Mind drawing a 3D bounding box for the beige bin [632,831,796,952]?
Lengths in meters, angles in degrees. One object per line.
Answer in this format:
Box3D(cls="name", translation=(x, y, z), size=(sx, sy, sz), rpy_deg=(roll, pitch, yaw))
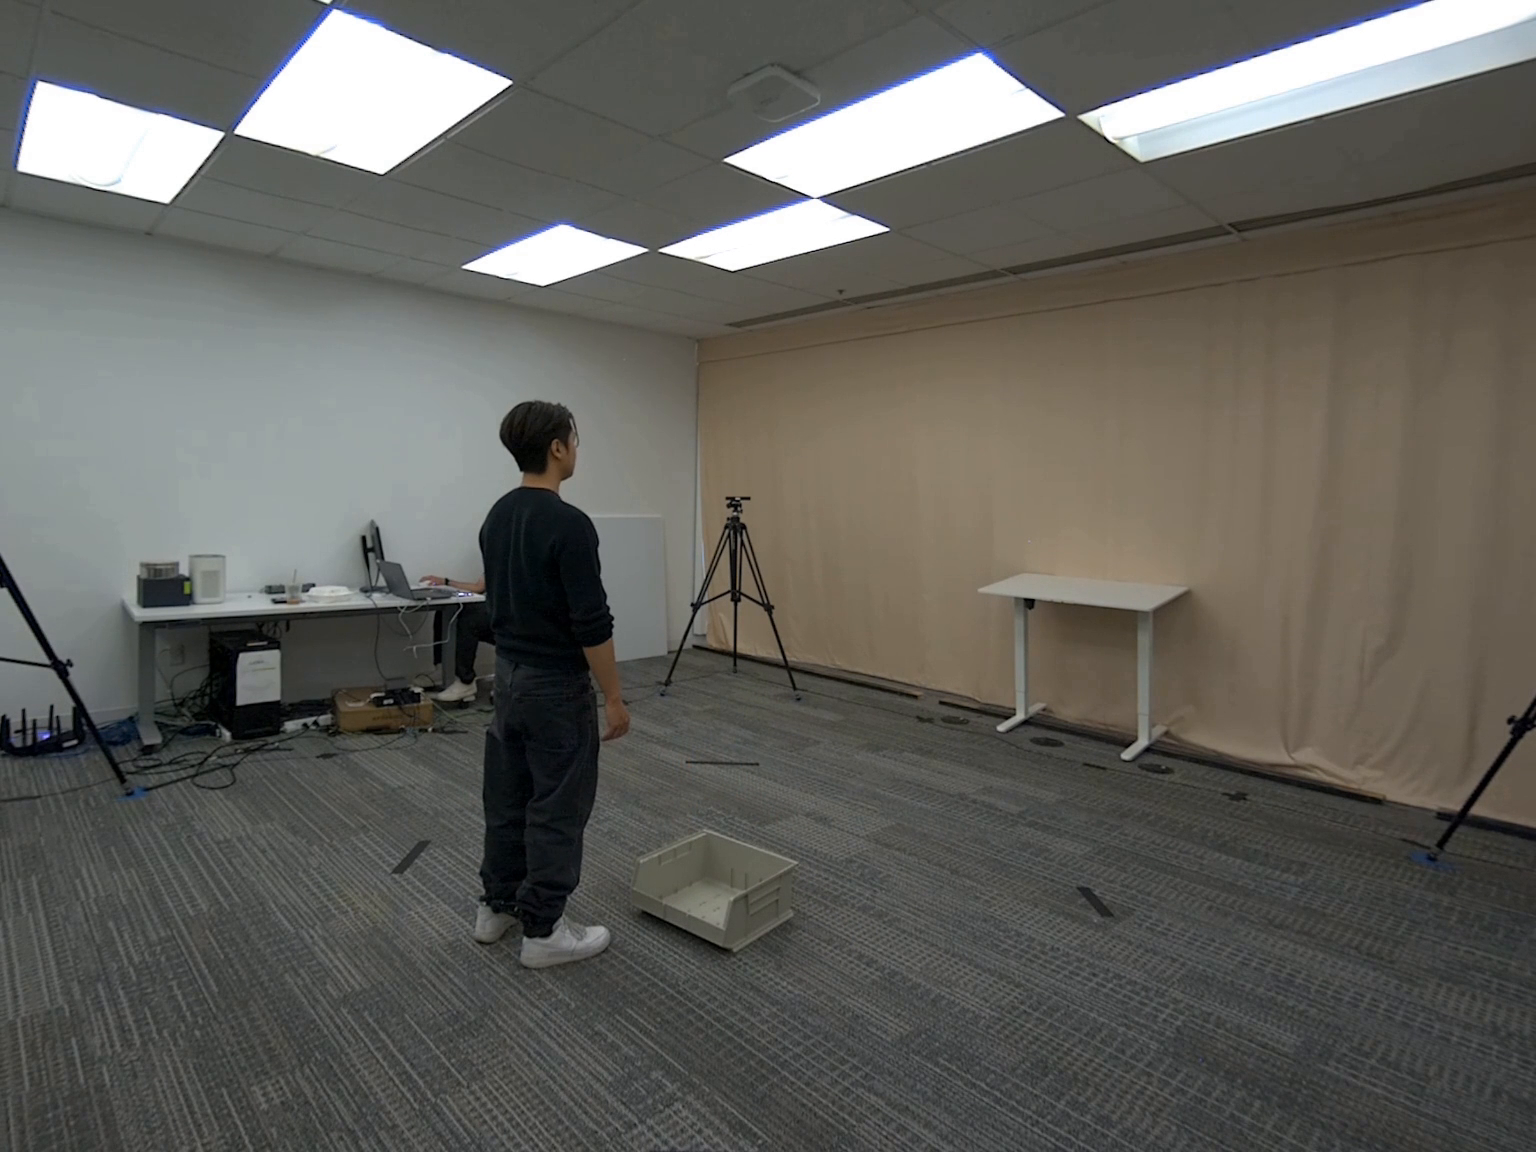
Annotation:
Box3D(cls="beige bin", translation=(-0.185, 1.045, 2.807), size=(0.433, 0.188, 0.369), rpy_deg=(4, 4, 38))
